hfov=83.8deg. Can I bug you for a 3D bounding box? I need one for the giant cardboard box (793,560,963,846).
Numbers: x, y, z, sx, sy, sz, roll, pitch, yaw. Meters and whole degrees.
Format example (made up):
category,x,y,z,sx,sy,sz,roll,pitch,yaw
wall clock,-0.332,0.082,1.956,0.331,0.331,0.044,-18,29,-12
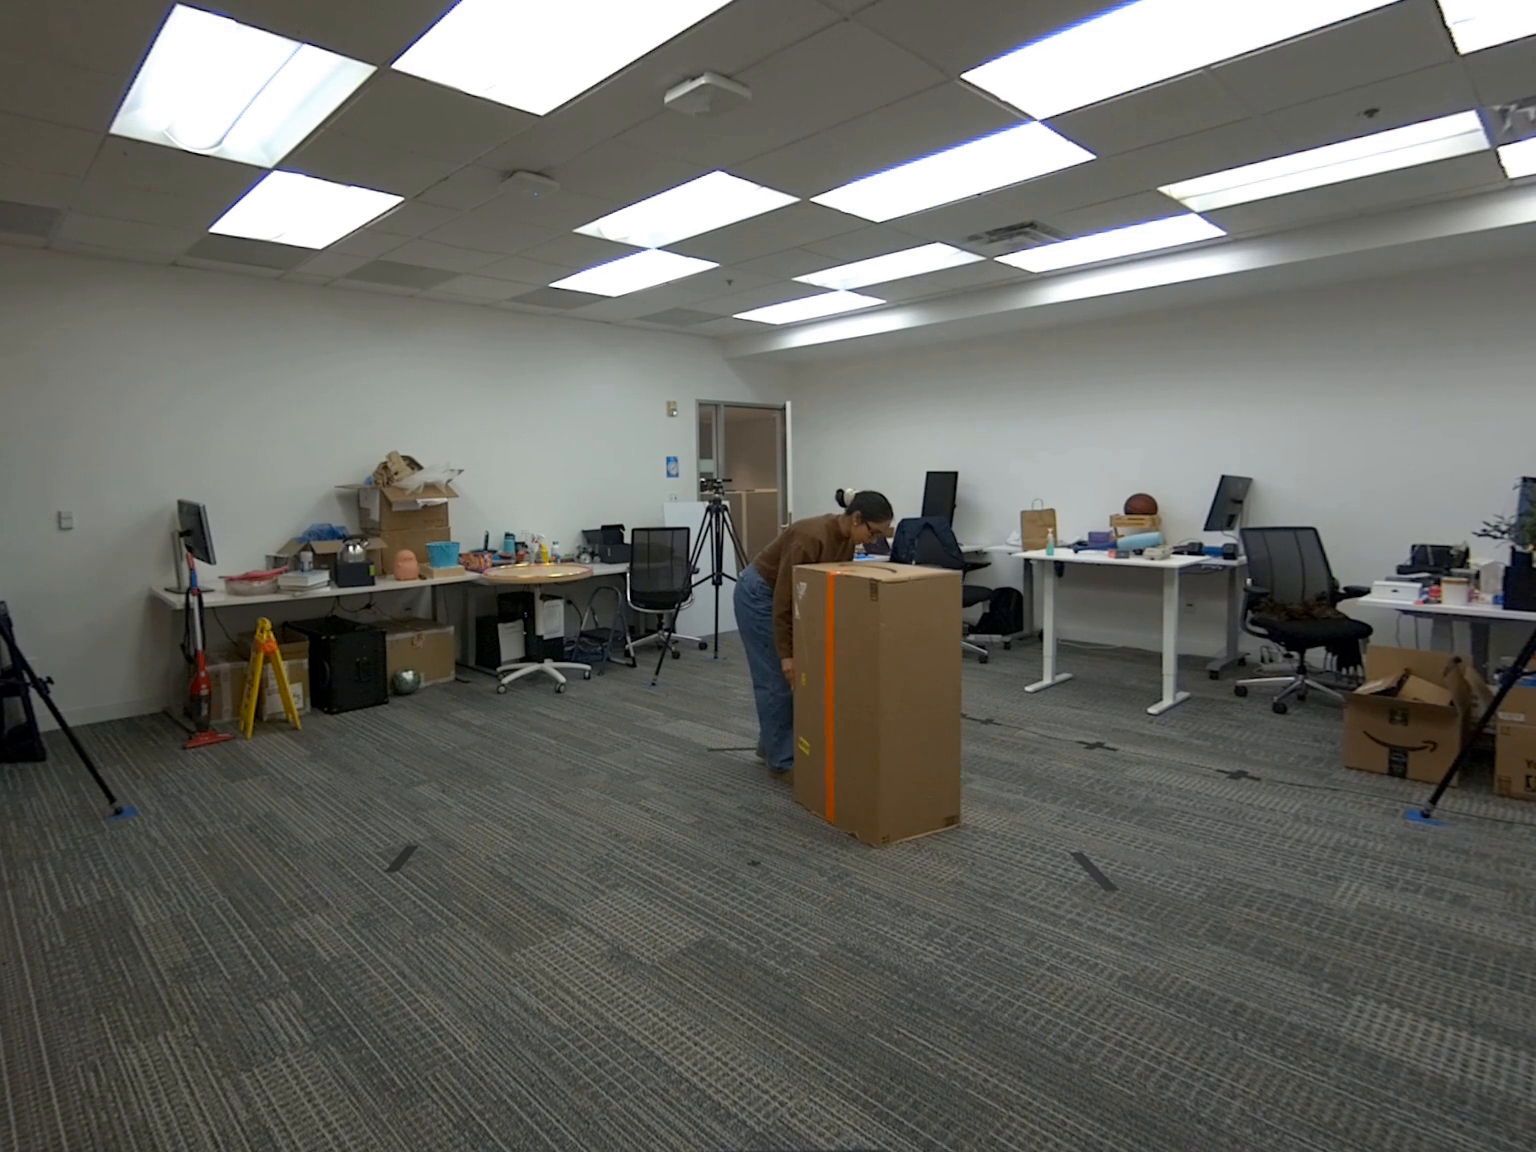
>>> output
category,x,y,z,sx,sy,sz,roll,pitch,yaw
giant cardboard box,0.437,0.486,3.516,0.416,1.021,0.594,-3,6,-31
